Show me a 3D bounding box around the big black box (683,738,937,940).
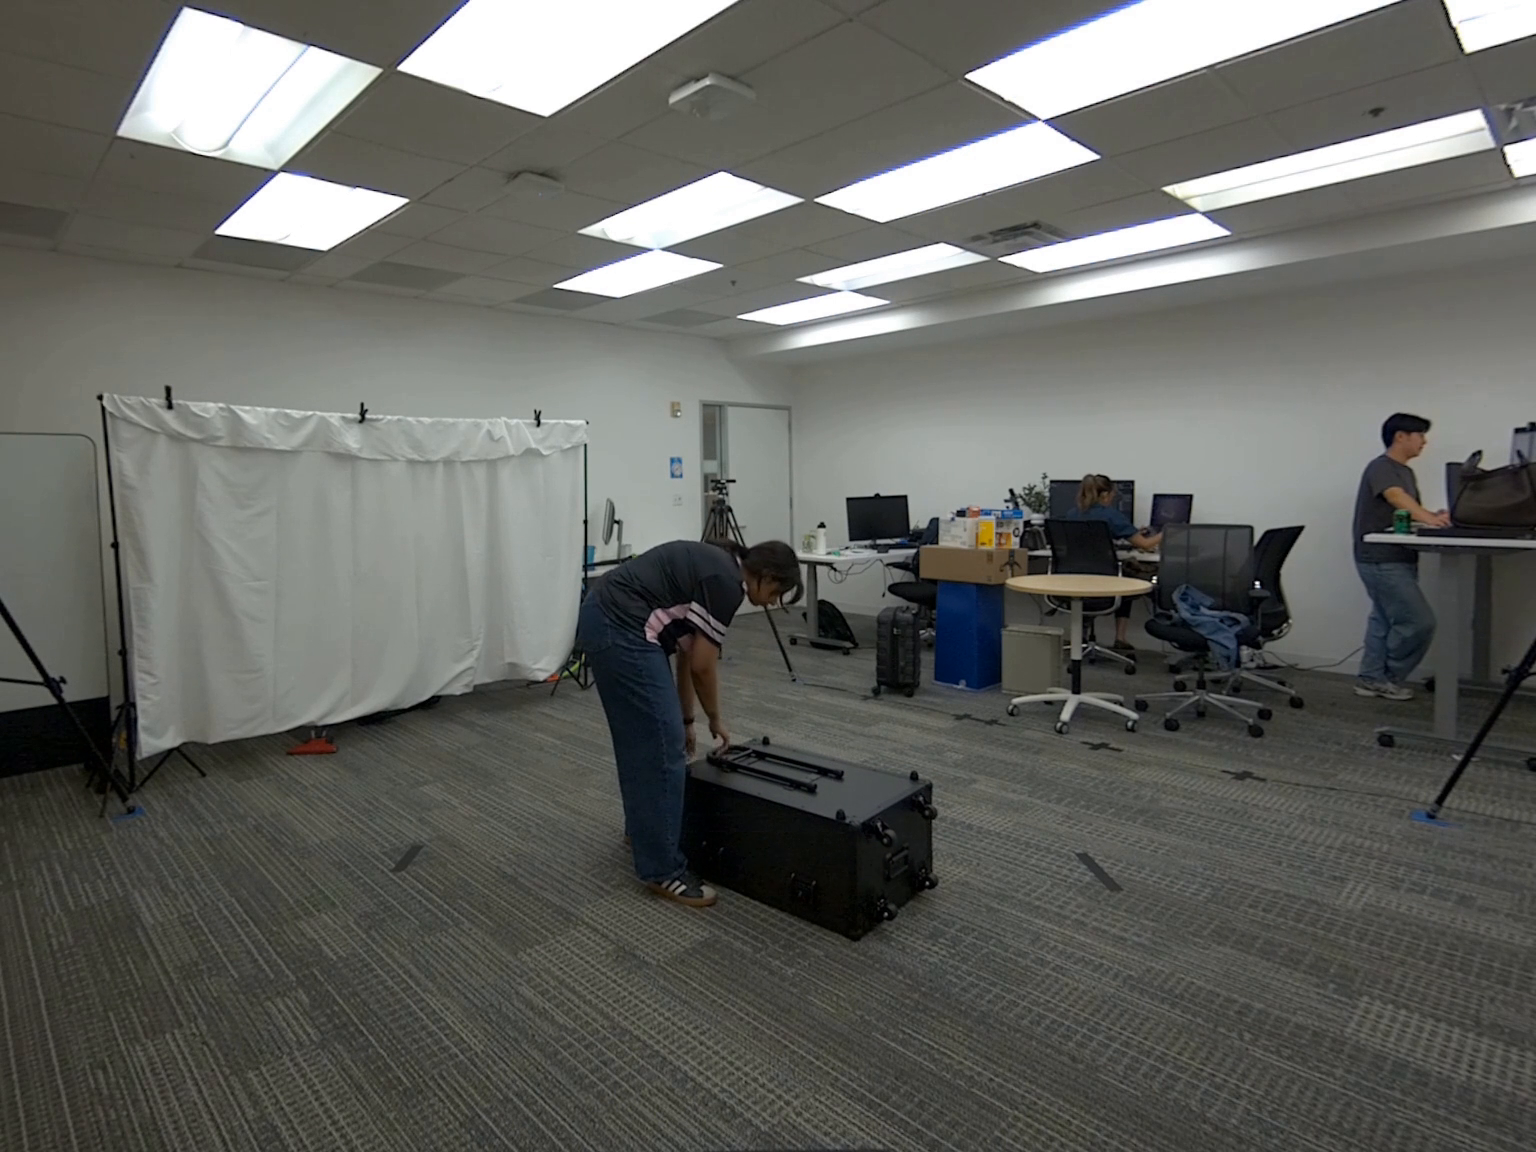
[{"bbox_3d":[0.143,0.873,2.977,0.895,0.384,0.509,4,6,40],"label":"big black box"}]
